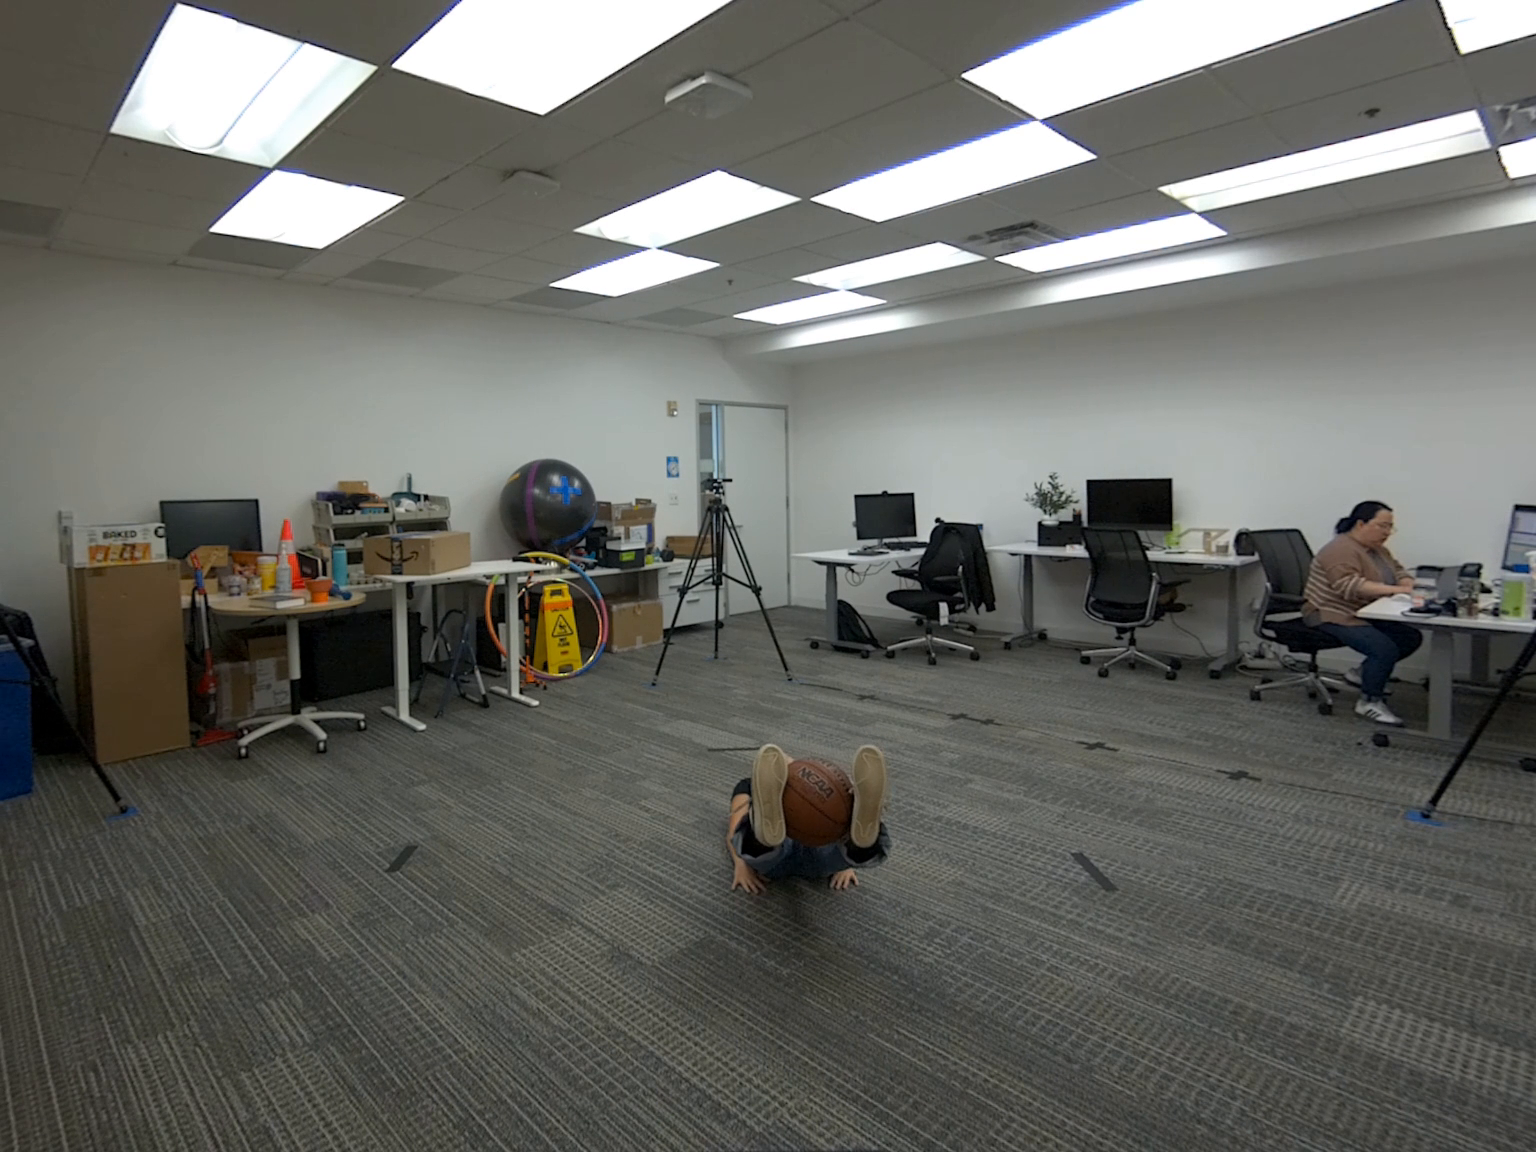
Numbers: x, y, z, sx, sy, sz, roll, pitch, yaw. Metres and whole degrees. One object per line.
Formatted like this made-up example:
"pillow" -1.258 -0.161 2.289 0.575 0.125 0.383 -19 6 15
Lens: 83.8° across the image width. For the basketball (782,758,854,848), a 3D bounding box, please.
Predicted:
"basketball" 0.133 0.636 2.404 0.236 0.235 0.237 -1 5 -2
